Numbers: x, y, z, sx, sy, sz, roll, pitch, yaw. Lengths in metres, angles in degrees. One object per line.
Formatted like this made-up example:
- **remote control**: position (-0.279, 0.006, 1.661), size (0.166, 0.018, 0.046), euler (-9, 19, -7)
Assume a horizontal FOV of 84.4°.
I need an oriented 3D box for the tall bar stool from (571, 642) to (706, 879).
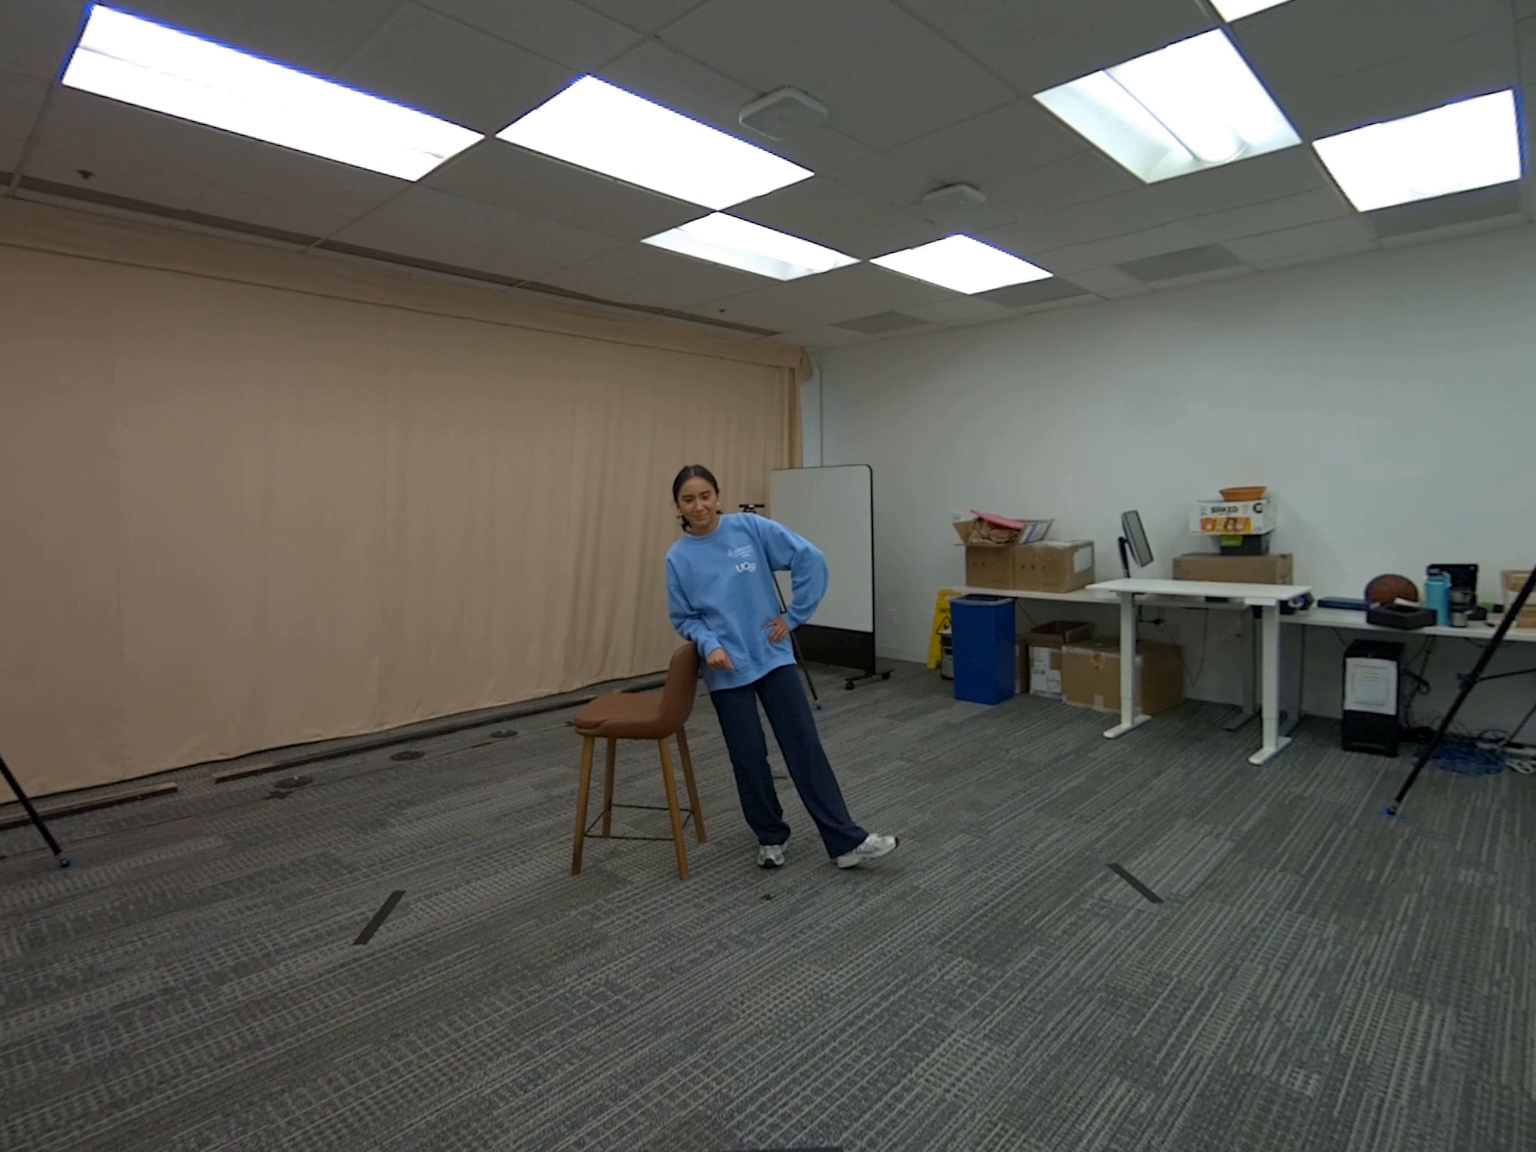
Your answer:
- **tall bar stool**: position (-0.505, 0.687, 3.340), size (0.473, 0.888, 0.452), euler (1, 4, 9)
